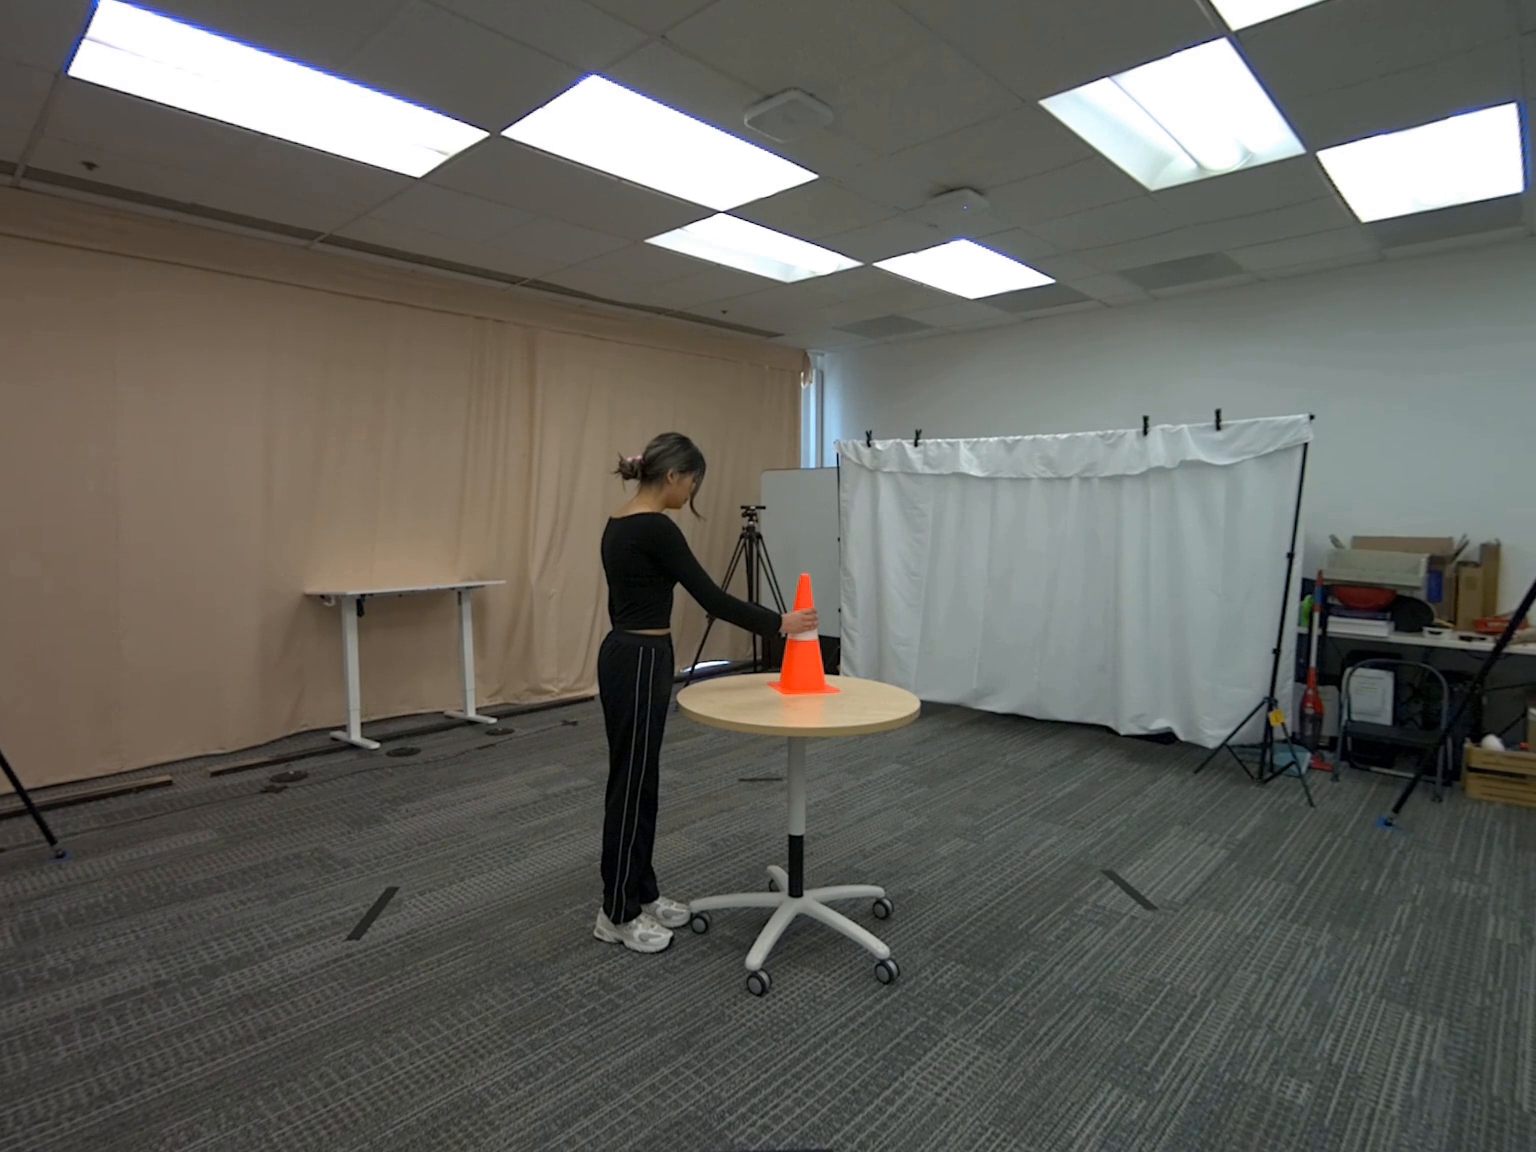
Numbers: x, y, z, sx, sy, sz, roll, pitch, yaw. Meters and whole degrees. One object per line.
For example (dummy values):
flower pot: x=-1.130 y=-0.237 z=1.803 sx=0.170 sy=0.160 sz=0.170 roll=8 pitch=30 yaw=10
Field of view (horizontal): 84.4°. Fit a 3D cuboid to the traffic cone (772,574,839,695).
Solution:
traffic cone: x=0.119 y=0.189 z=2.798 sx=0.200 sy=0.383 sz=0.209 roll=1 pitch=3 yaw=-17
